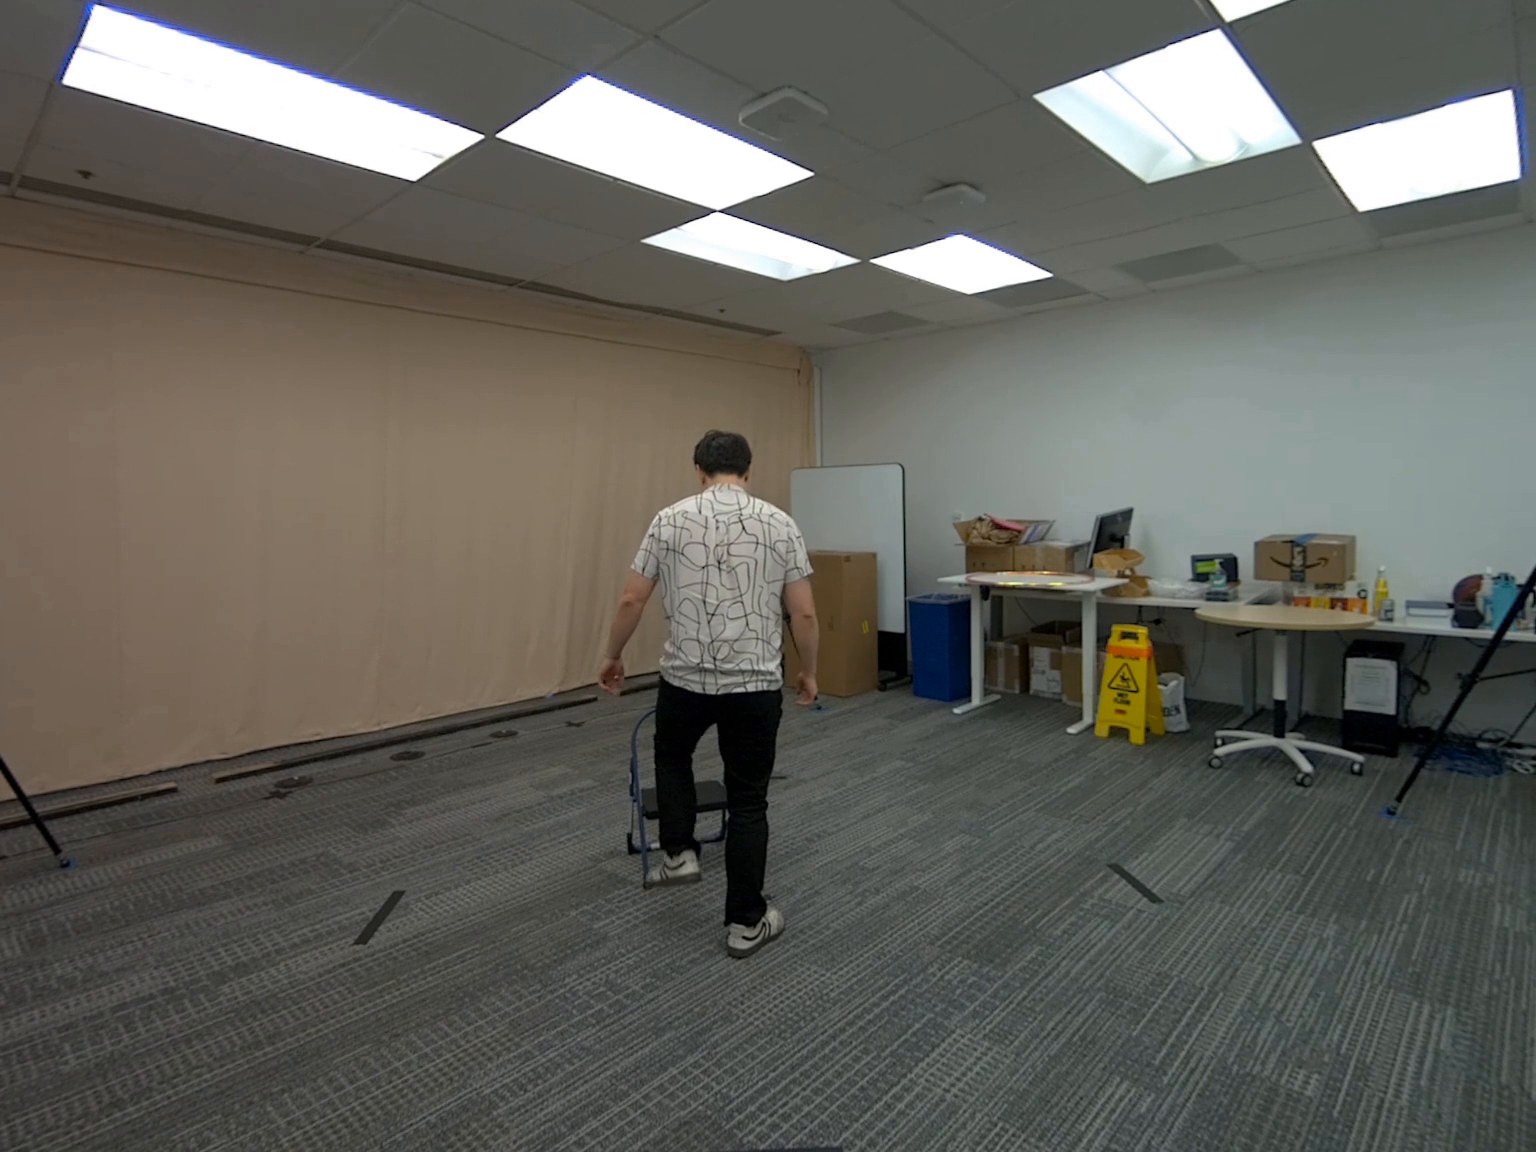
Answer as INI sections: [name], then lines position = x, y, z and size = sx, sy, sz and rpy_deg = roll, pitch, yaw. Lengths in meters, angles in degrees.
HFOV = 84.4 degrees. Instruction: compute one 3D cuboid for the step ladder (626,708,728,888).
[step ladder]
position = -0.321, 0.818, 3.285
size = 0.422, 0.605, 0.357
rpy_deg = -2, 3, -20
